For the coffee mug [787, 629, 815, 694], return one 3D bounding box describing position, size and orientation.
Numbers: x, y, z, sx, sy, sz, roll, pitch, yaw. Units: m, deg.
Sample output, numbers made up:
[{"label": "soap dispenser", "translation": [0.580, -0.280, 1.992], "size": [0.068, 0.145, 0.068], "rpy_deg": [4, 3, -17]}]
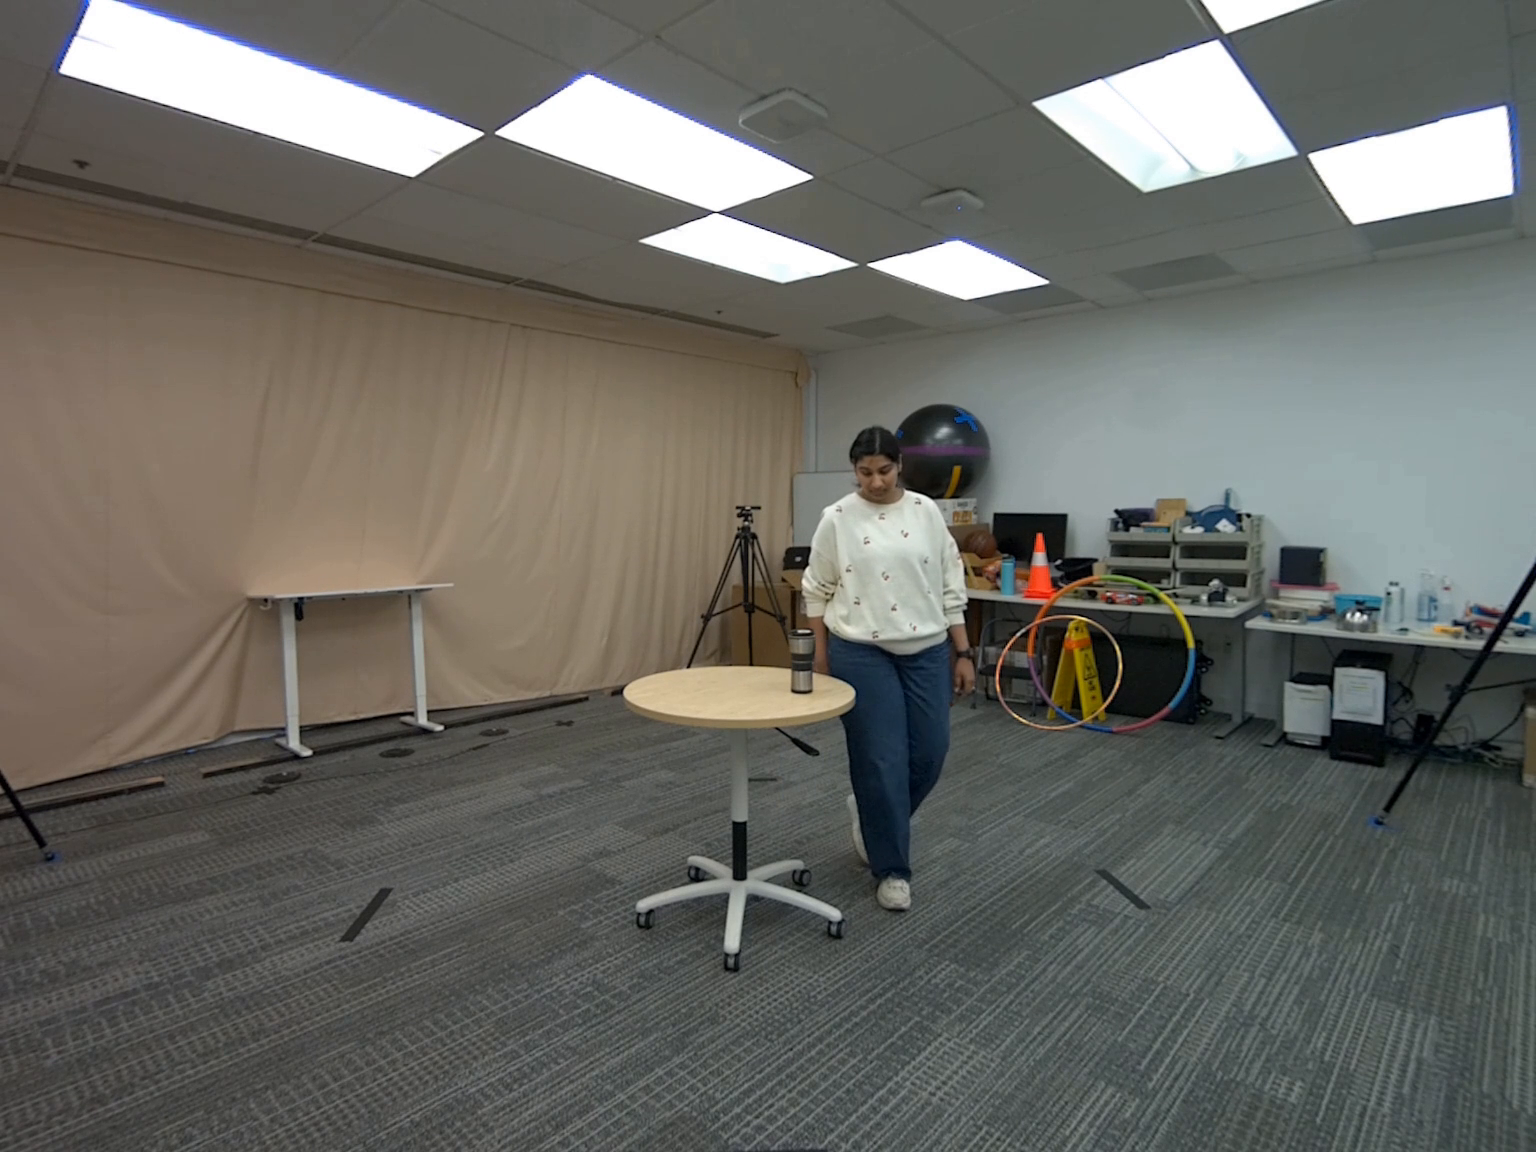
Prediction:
[{"label": "coffee mug", "translation": [0.132, 0.283, 2.759], "size": [0.119, 0.202, 0.090], "rpy_deg": [-7, 4, -32]}]
